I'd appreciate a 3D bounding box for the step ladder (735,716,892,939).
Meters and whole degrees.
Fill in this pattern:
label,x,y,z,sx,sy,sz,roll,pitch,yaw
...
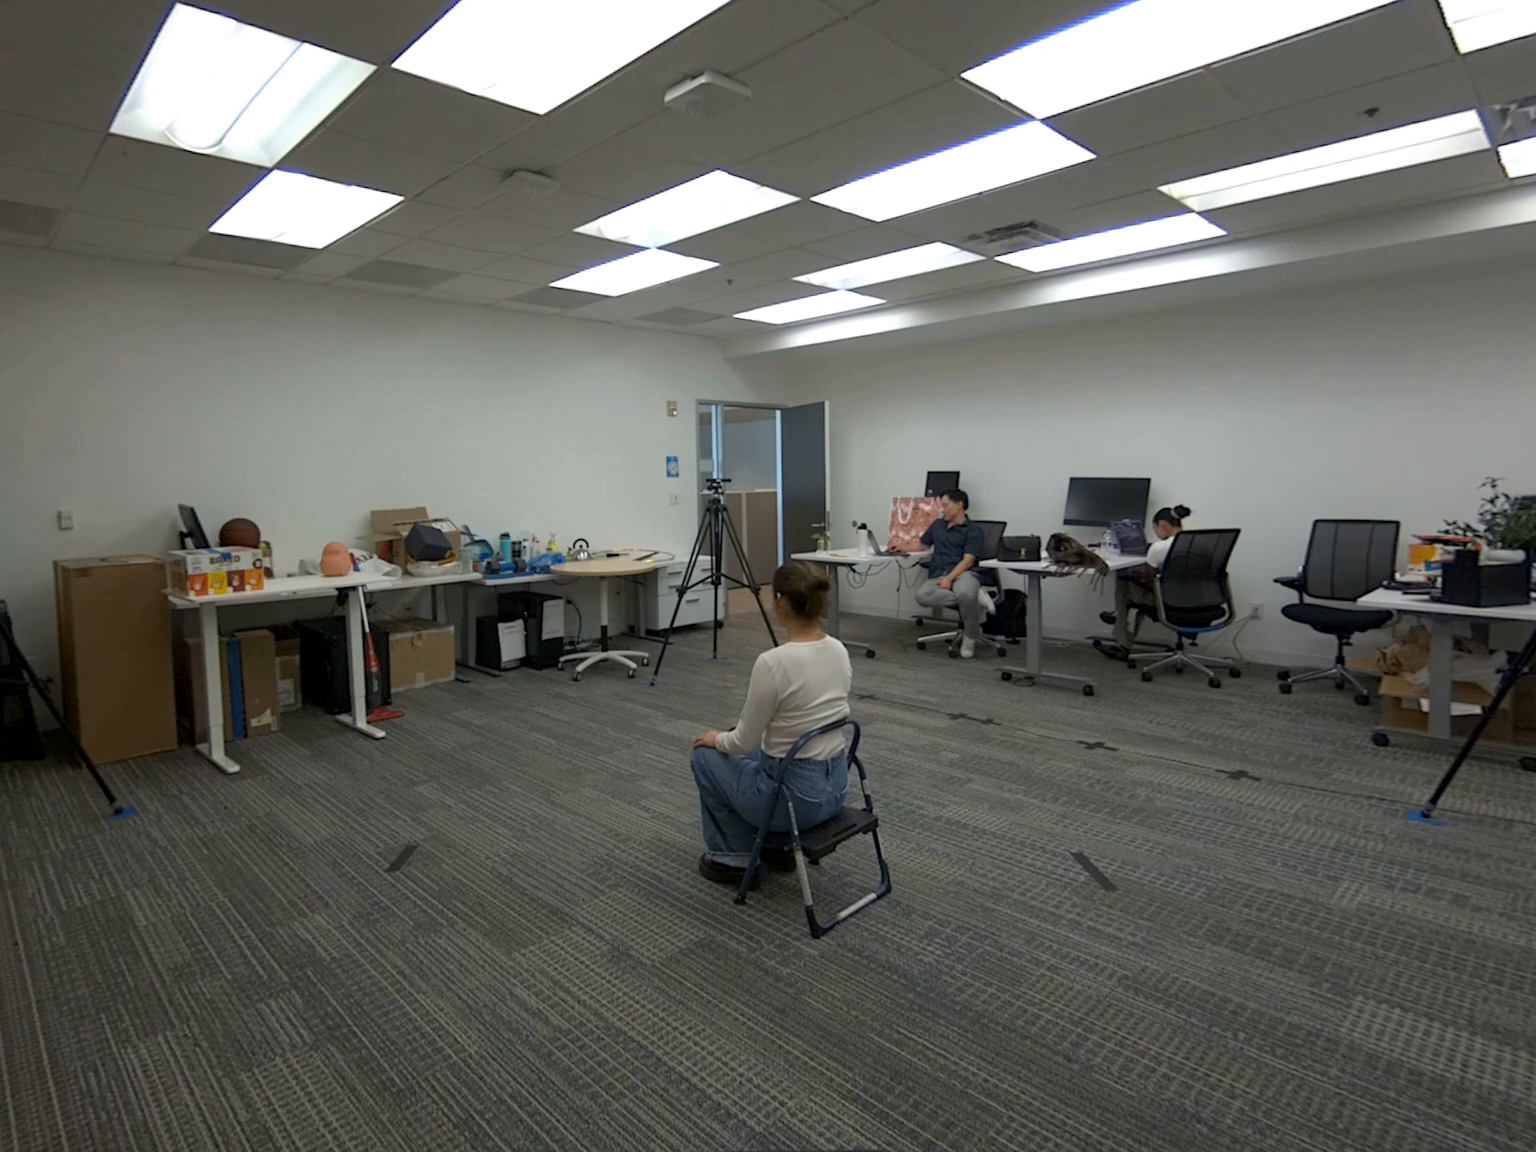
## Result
label,x,y,z,sx,sy,sz,roll,pitch,yaw
step ladder,0.153,0.767,2.828,0.360,0.604,0.419,3,6,42
